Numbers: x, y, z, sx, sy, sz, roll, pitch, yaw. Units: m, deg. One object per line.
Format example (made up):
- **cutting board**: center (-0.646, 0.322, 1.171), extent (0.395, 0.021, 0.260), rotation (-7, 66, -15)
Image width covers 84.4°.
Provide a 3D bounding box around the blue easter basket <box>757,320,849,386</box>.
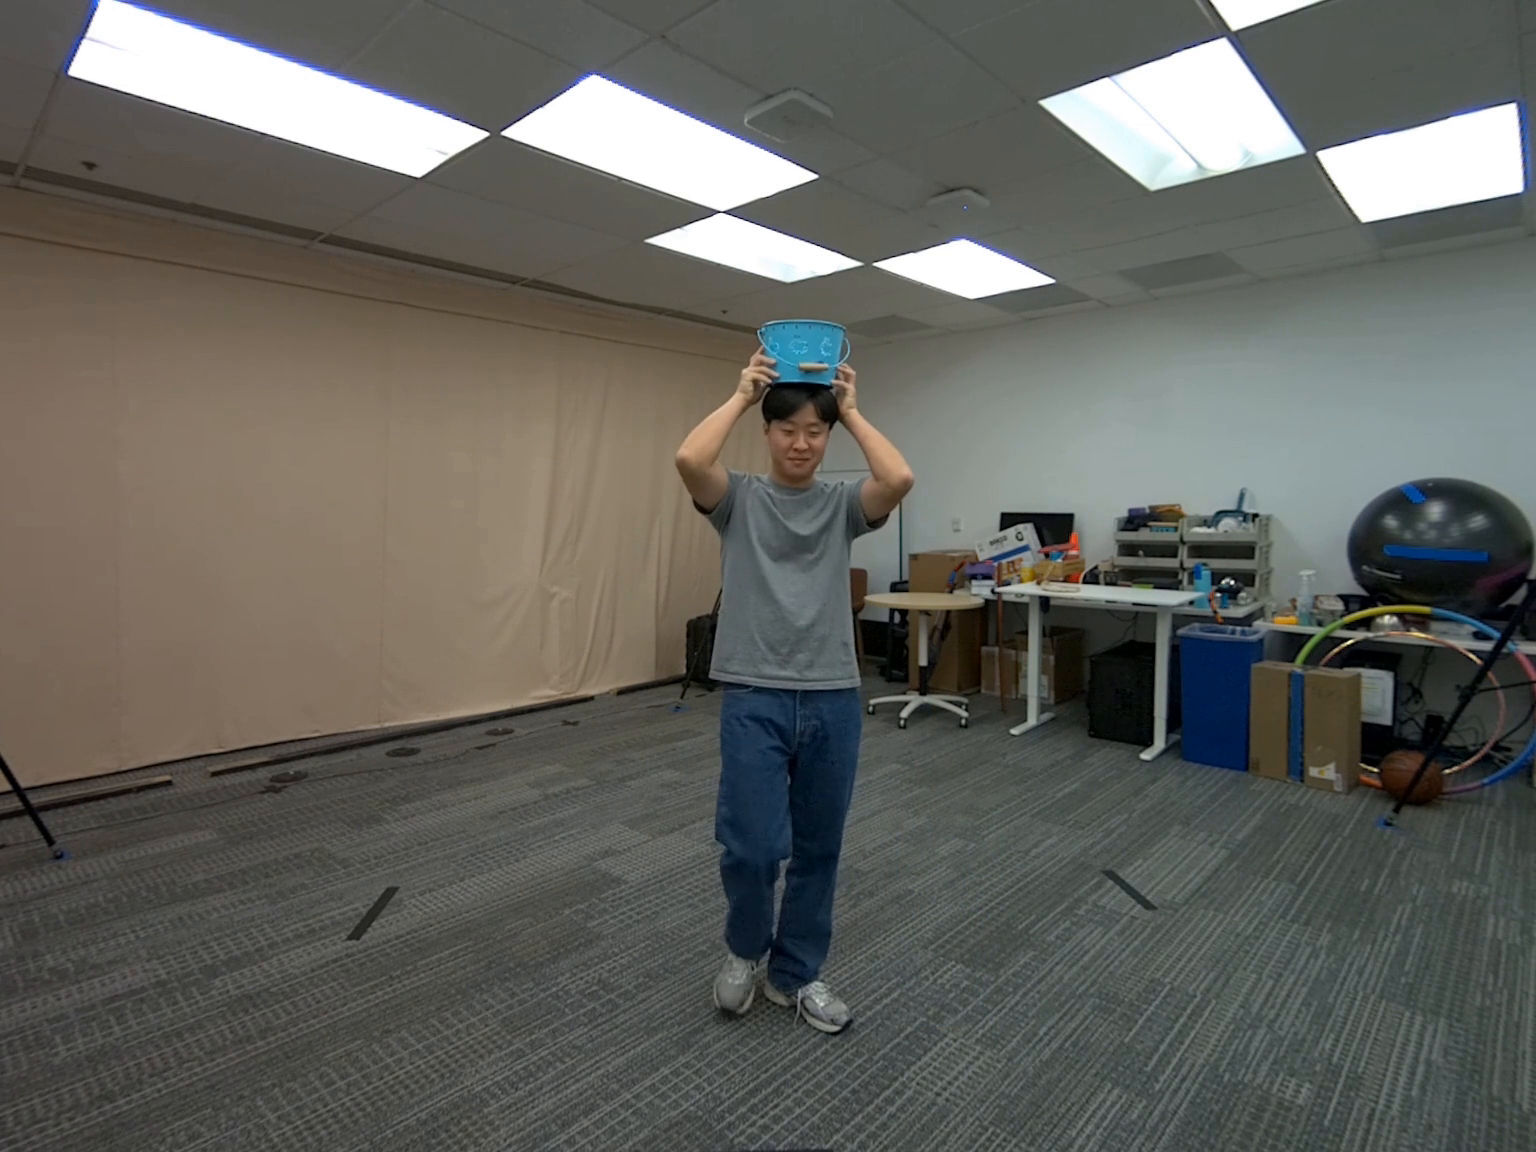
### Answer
- **blue easter basket**: center (0.094, -0.579, 2.231), extent (0.243, 0.155, 0.244), rotation (3, 5, -2)
